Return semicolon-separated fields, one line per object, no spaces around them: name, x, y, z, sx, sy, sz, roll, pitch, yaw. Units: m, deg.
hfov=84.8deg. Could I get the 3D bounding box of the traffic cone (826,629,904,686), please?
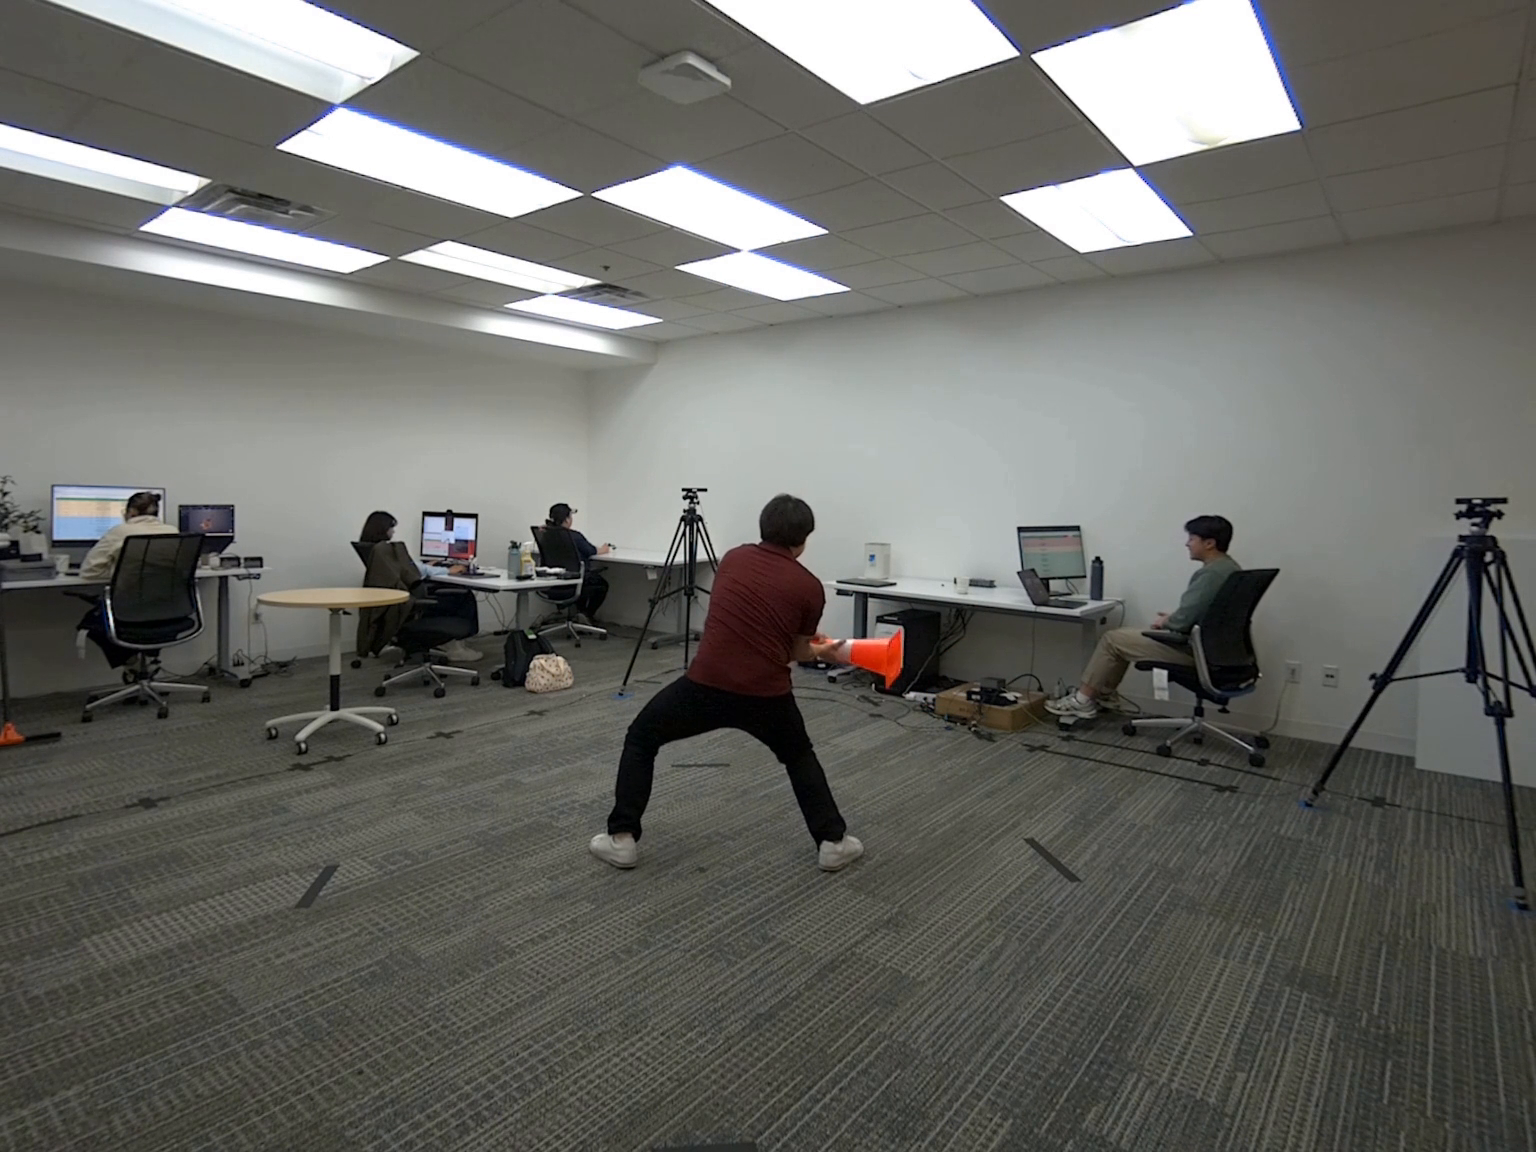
traffic cone;0.323;0.305;3.497;0.394;0.202;0.200;6;14;26
